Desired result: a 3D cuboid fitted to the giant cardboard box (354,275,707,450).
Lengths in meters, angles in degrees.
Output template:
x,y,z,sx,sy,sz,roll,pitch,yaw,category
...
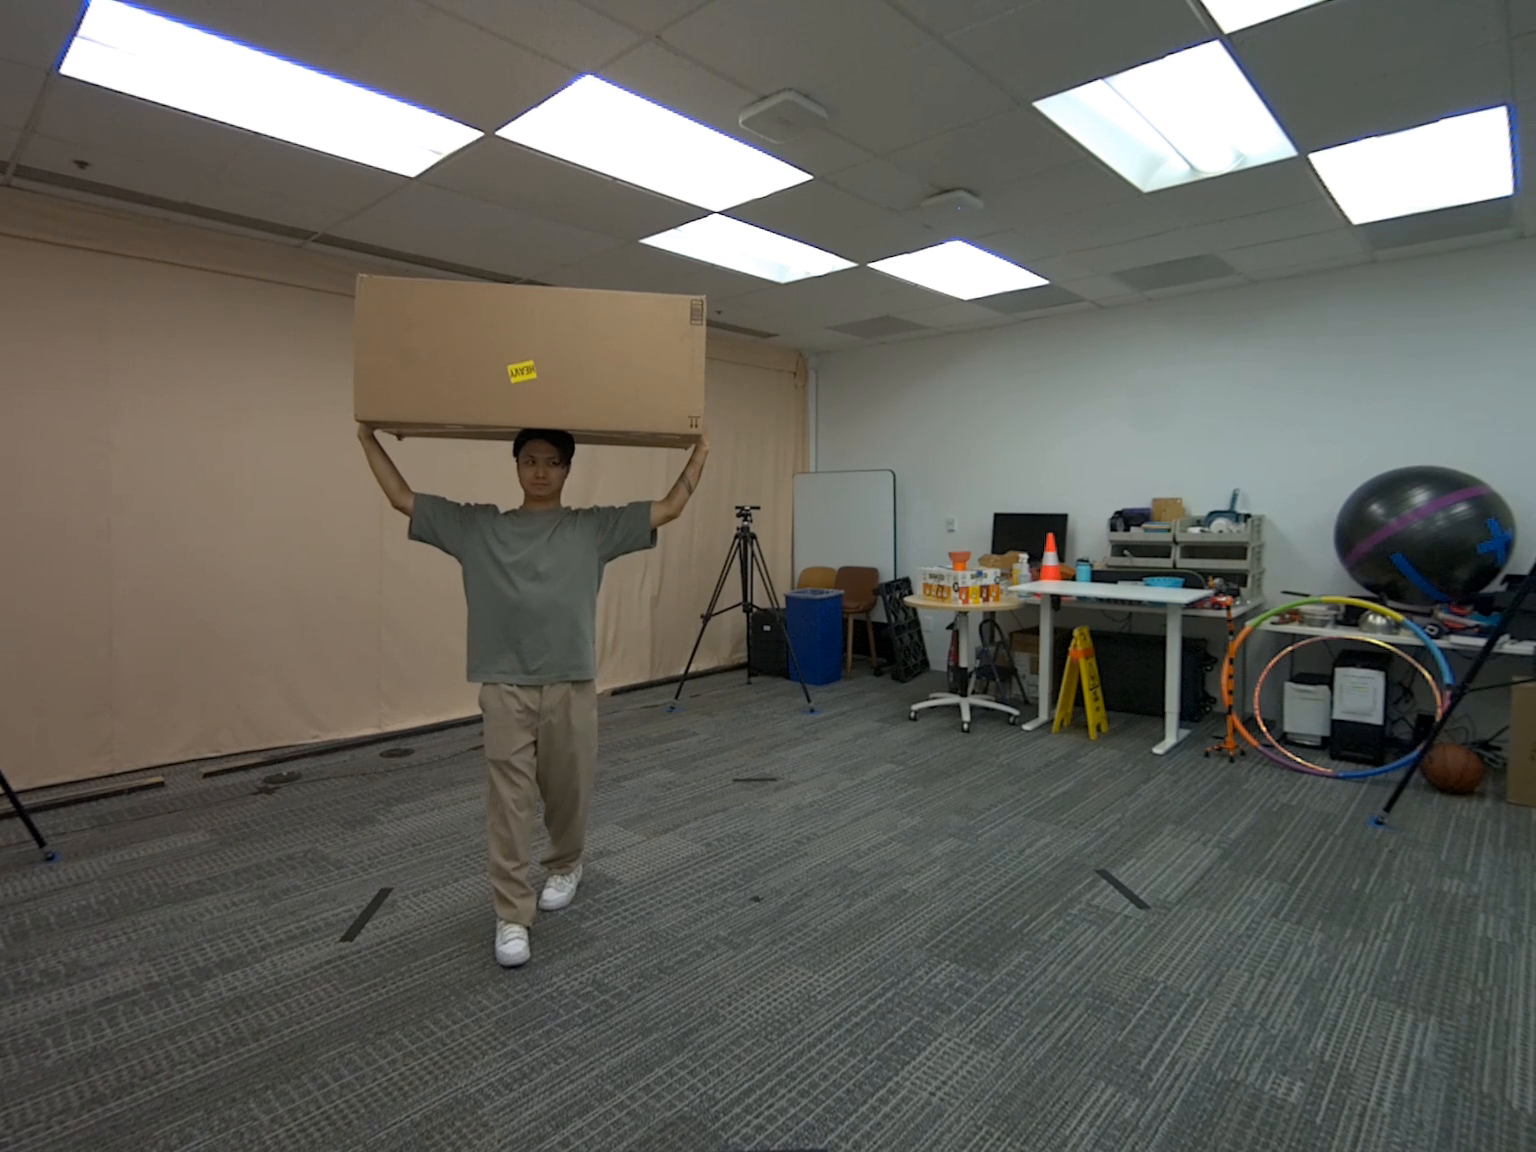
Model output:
x,y,z,sx,sy,sz,roll,pitch,yaw,category
-0.740,-0.672,2.769,1.018,0.425,0.583,2,3,-8,giant cardboard box
